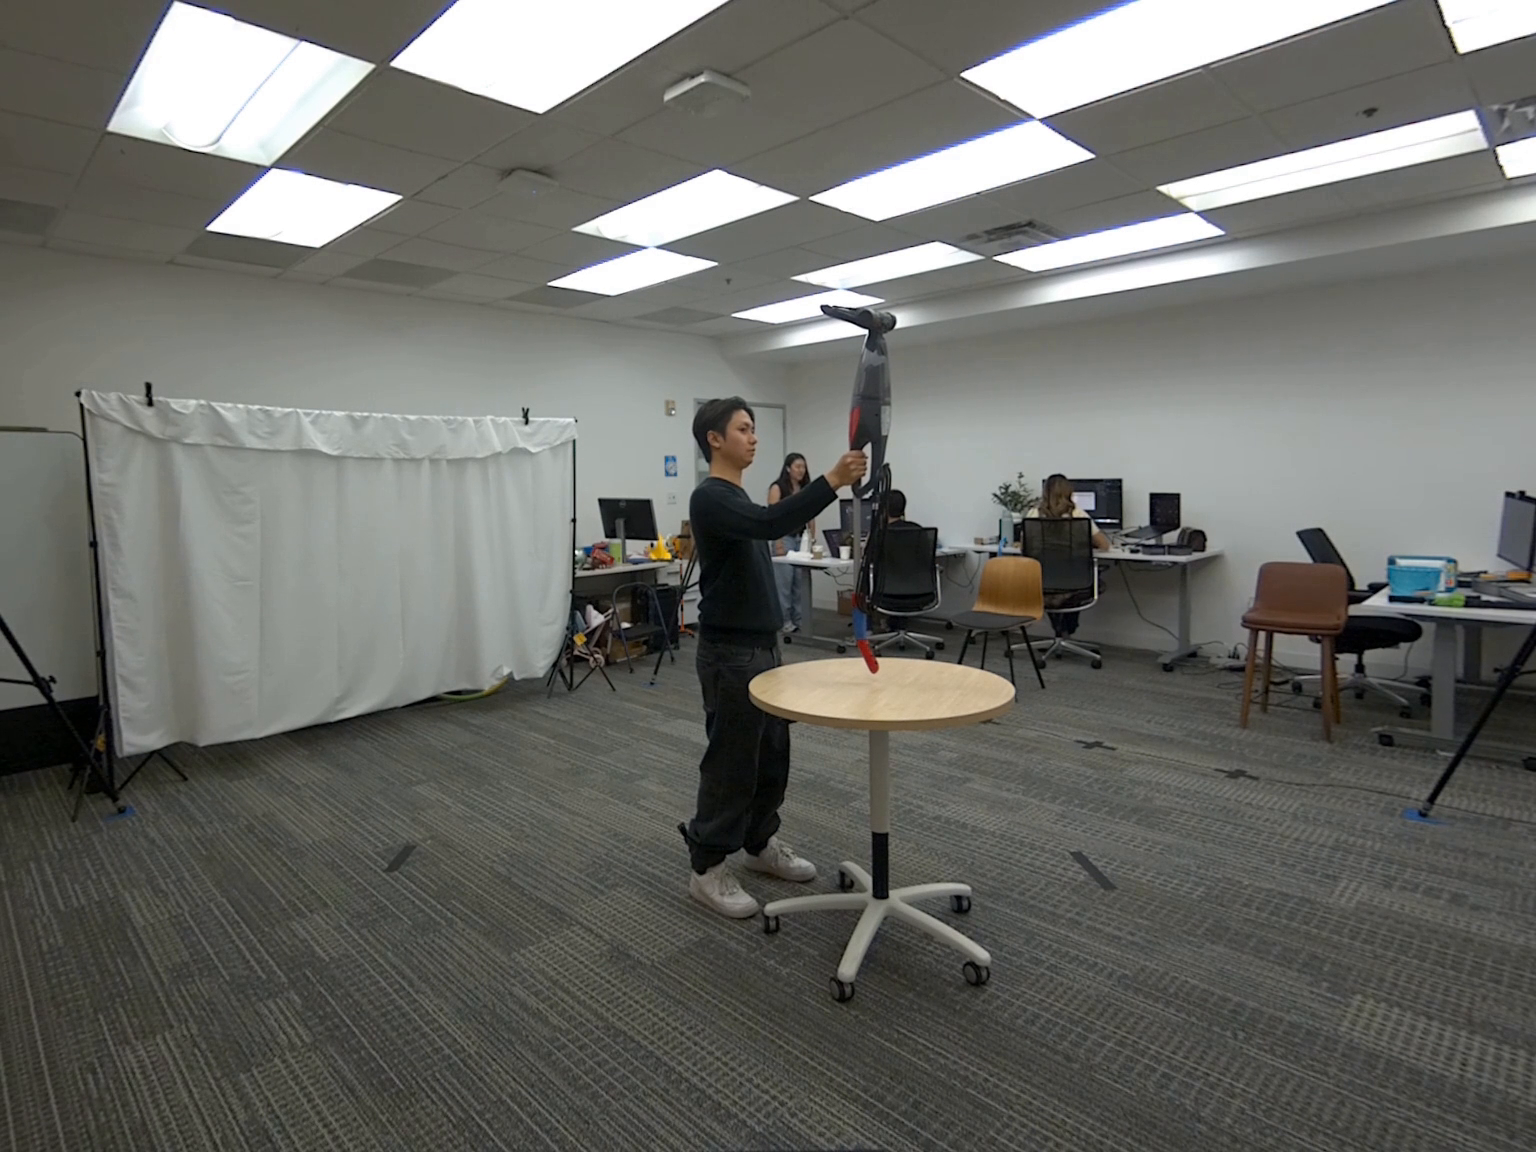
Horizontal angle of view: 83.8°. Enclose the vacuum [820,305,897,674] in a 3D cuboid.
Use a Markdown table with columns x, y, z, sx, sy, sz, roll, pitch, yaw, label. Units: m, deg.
| x | y | z | sx | sy | sz | roll | pitch | yaw | label |
| --- | --- | --- | --- | --- | --- | --- | --- | --- | --- |
| 0.304 | -0.237 | 2.466 | 0.148 | 1.043 | 0.246 | 3 | 8 | 40 | vacuum |
